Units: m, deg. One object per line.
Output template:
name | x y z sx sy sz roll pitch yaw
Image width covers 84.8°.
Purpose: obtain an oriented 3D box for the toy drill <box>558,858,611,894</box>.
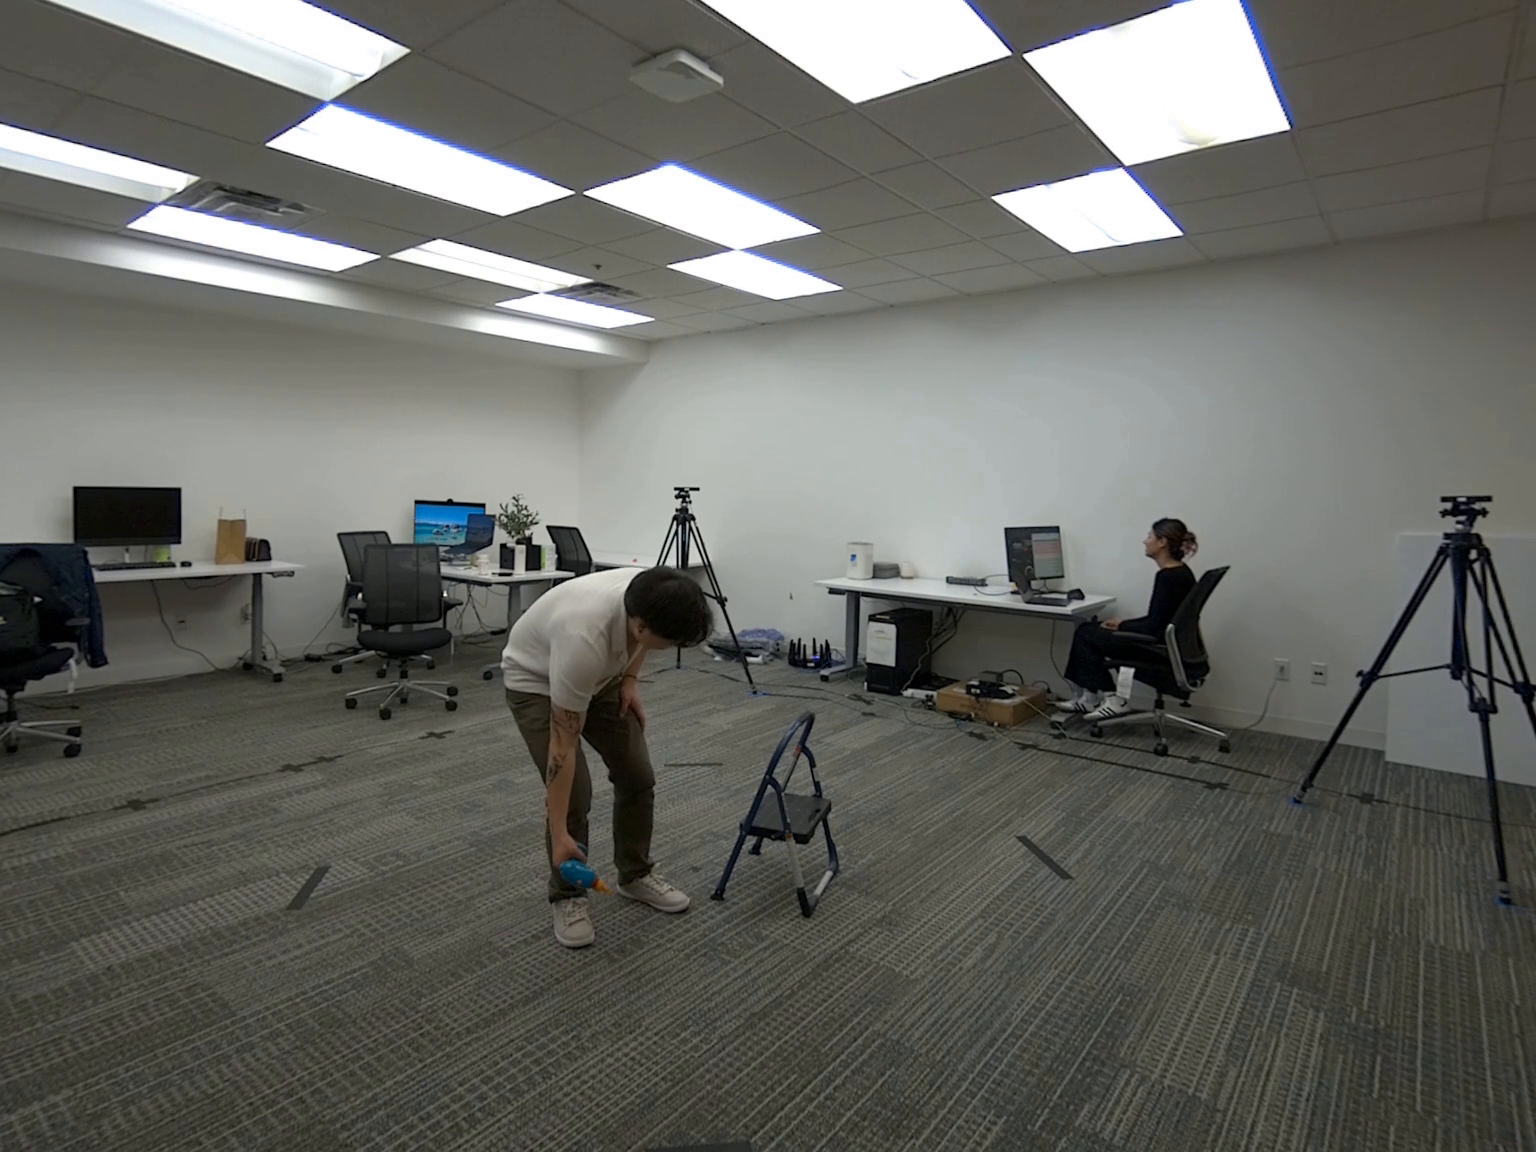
toy drill | -0.517 0.832 2.368 0.168 0.061 0.148 25 1 -9
